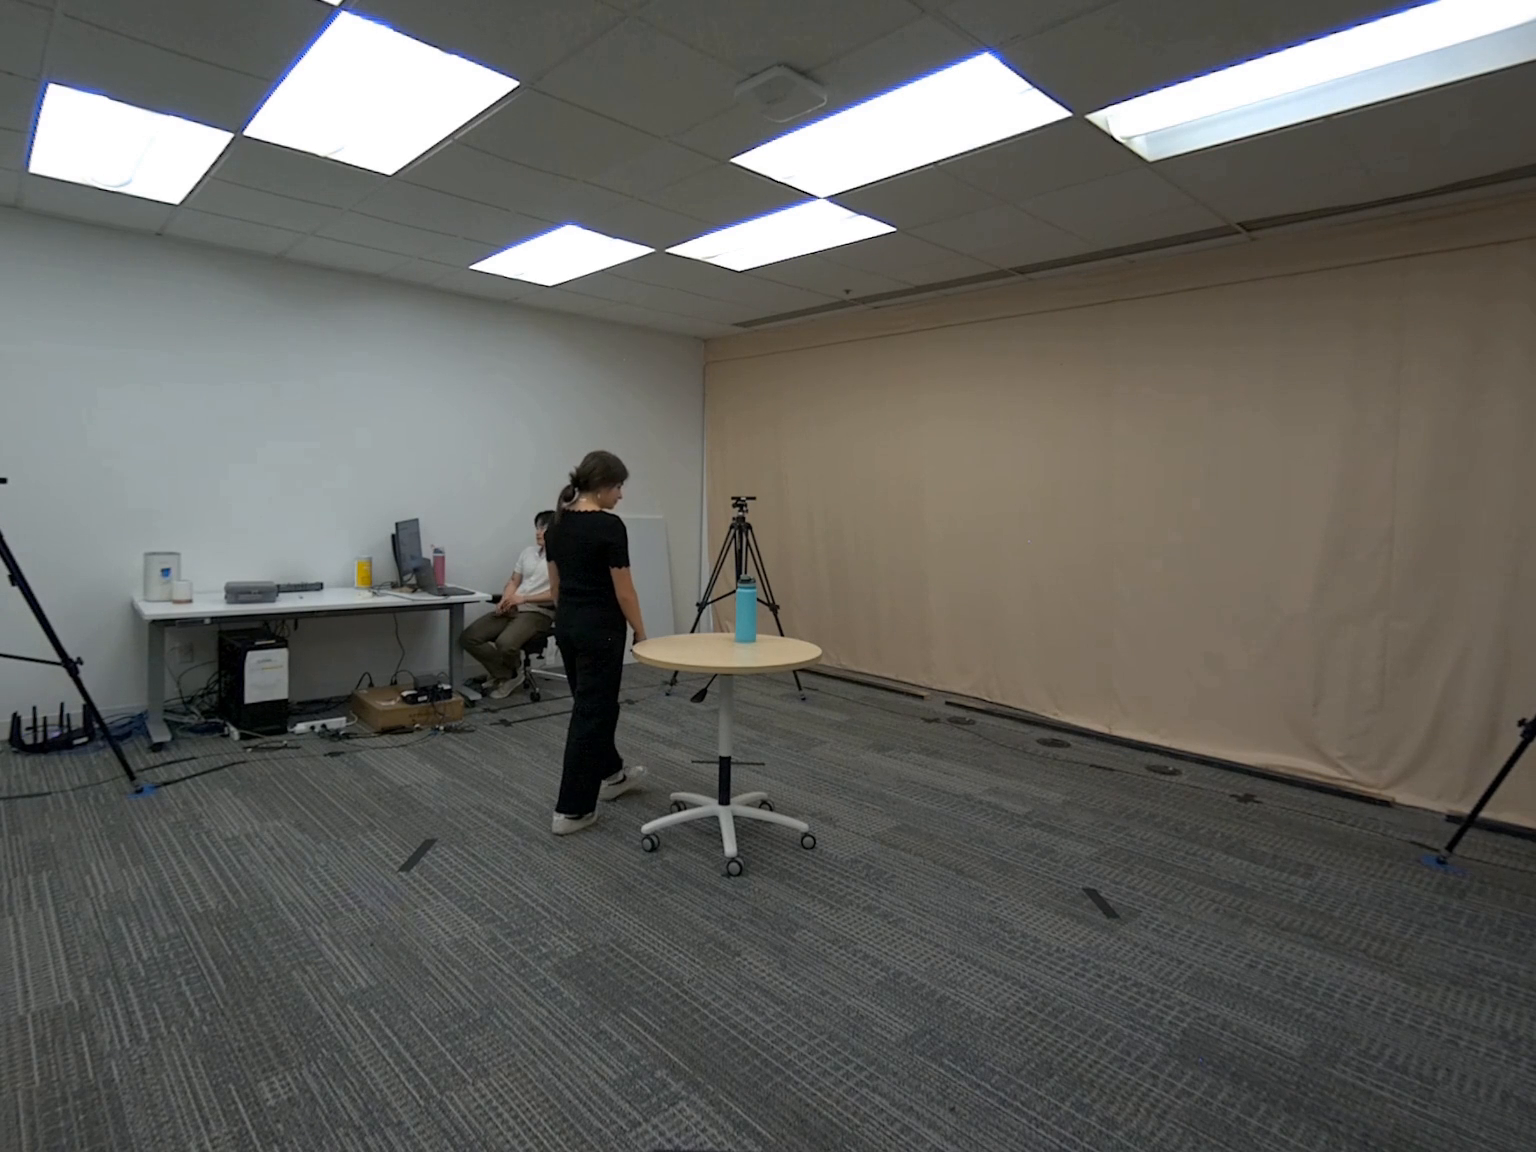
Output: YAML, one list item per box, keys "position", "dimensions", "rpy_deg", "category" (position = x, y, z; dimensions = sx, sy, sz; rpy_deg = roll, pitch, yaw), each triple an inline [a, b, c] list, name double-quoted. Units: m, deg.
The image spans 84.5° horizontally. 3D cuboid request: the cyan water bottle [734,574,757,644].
- position: [-0.107, 0.135, 3.586]
  dimensions: [0.092, 0.282, 0.093]
  rpy_deg: [1, 5, -1]
  category: "cyan water bottle"
